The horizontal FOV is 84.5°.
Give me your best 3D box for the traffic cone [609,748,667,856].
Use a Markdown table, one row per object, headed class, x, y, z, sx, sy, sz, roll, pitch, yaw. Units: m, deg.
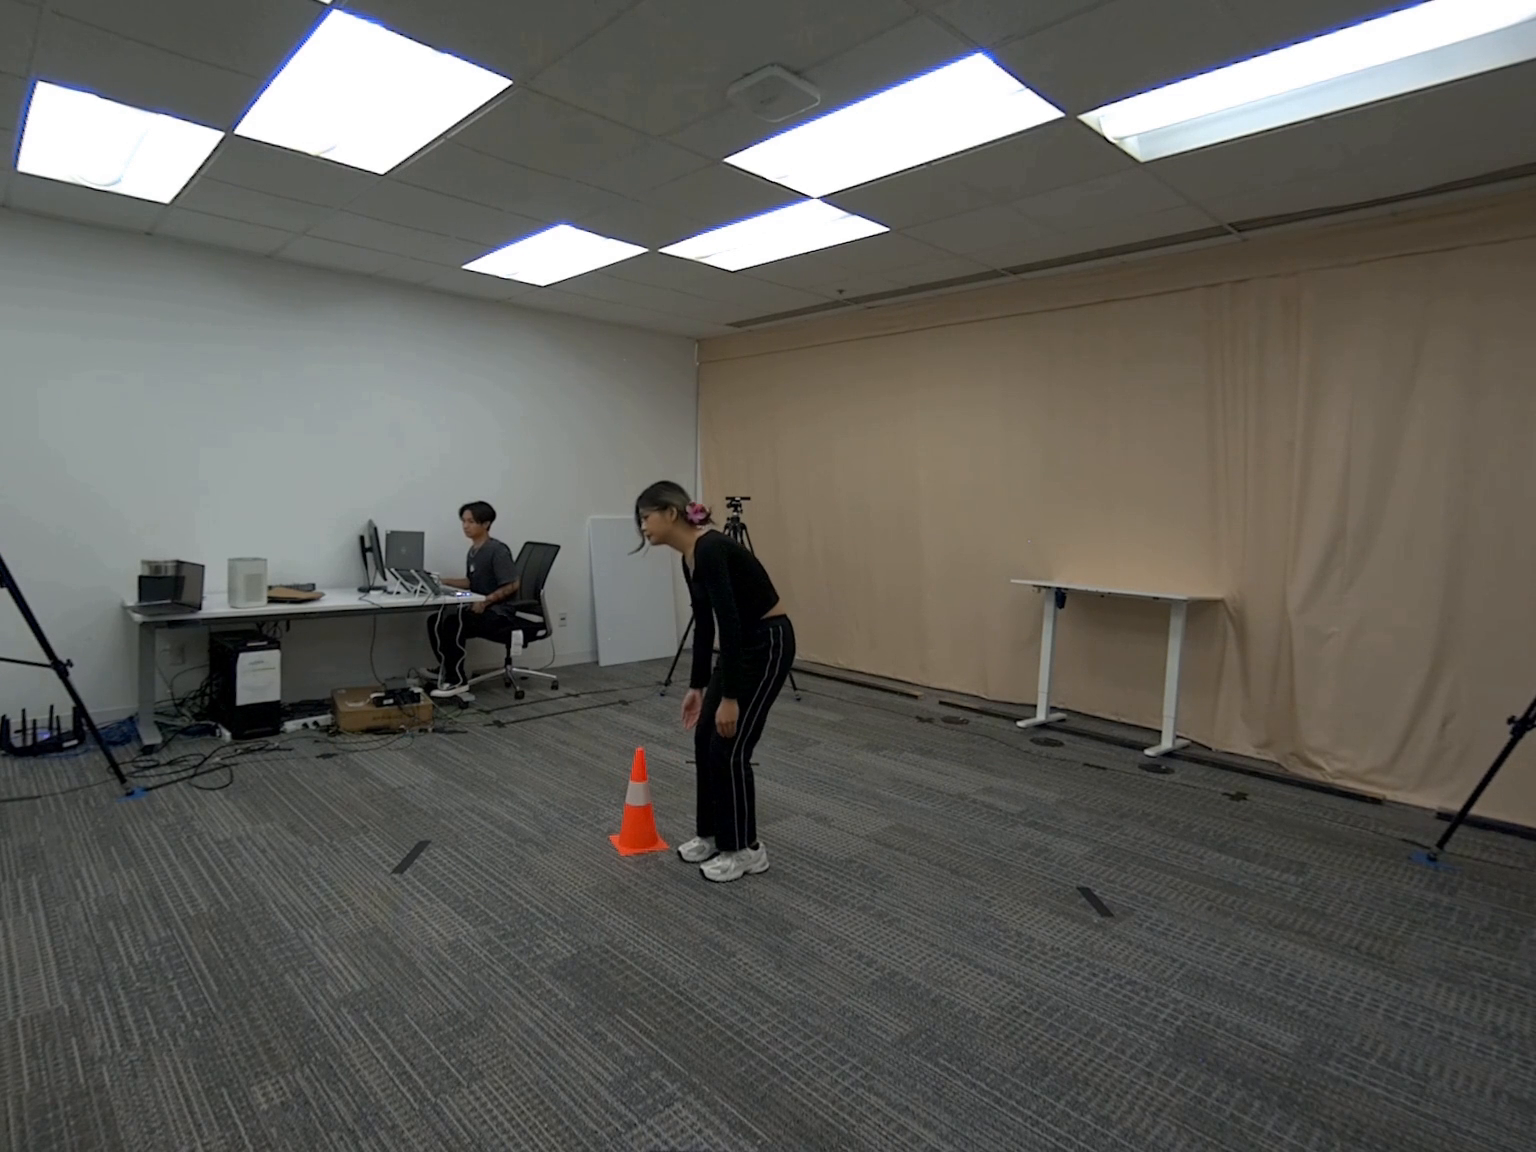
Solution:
| class | x | y | z | sx | sy | sz | roll | pitch | yaw |
| --- | --- | --- | --- | --- | --- | --- | --- | --- | --- |
| traffic cone | -0.518 | 0.883 | 3.380 | 0.201 | 0.383 | 0.207 | 1 | 3 | -24 |
